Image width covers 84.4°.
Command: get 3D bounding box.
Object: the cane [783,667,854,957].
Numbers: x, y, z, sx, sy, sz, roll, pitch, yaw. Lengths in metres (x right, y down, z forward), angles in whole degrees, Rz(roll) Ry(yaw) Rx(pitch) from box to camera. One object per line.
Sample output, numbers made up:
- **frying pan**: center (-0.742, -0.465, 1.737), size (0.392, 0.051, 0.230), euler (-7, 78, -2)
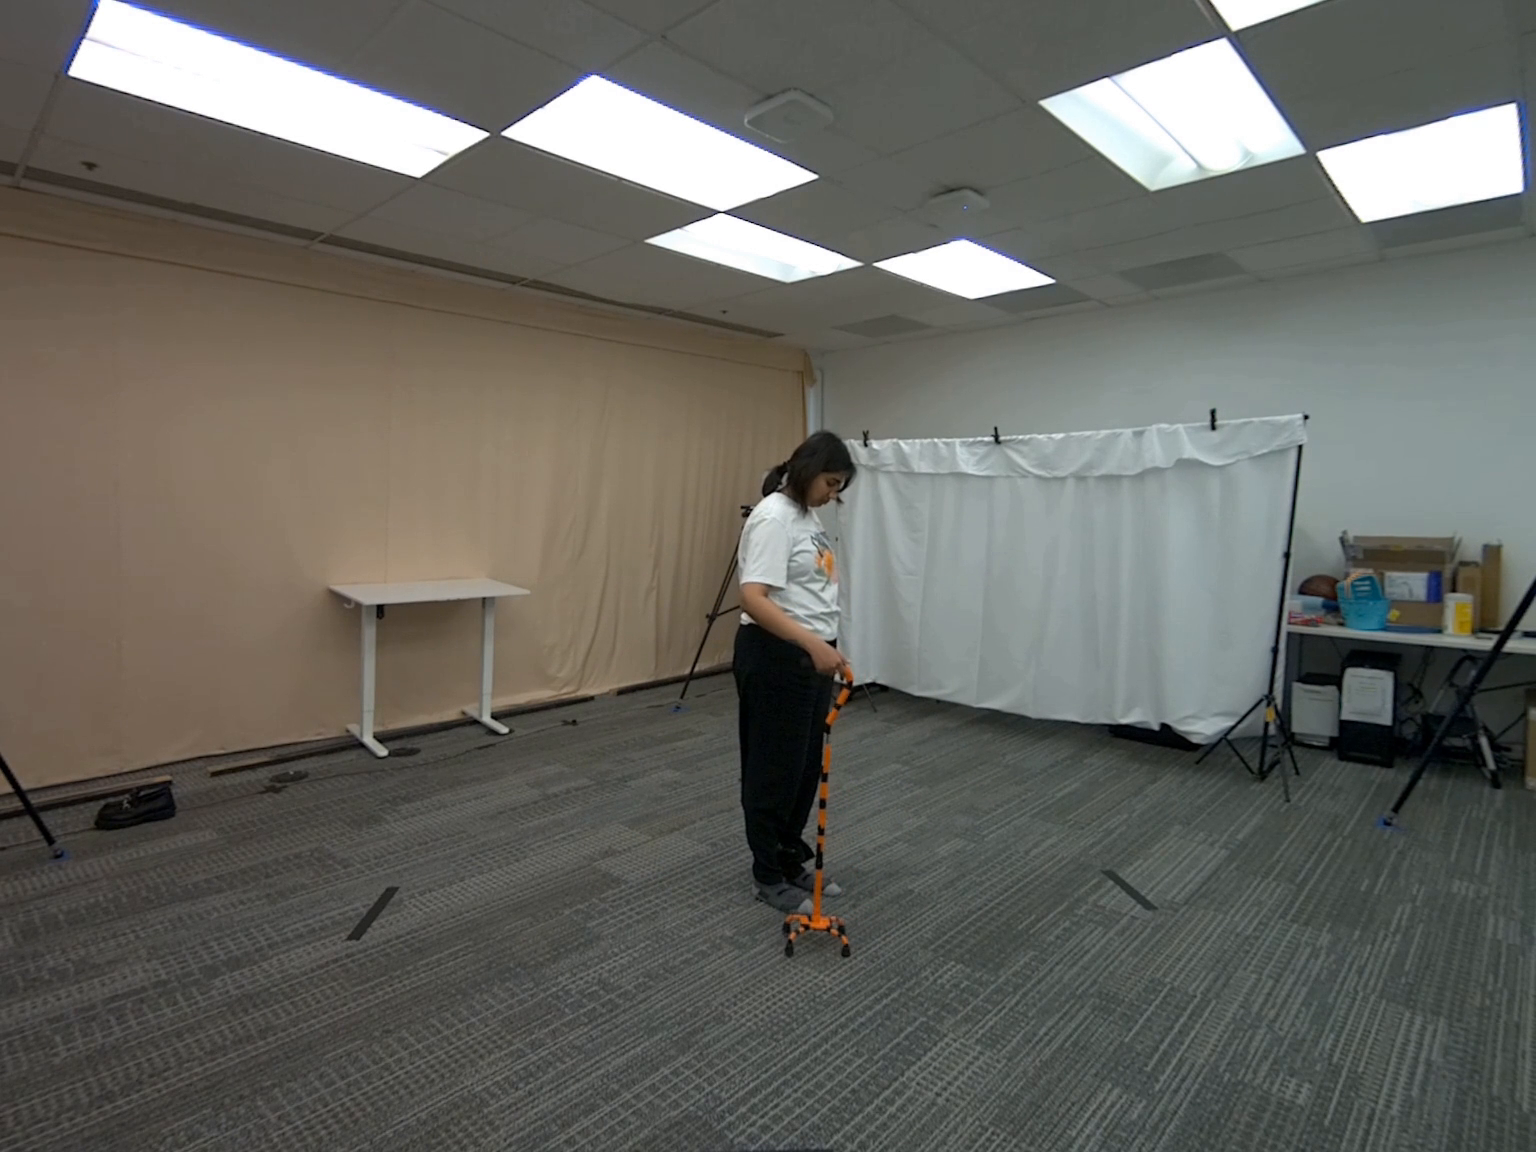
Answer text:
- **cane**: center (0.175, 0.708, 2.631), size (0.207, 0.905, 0.152), euler (3, 5, 1)
